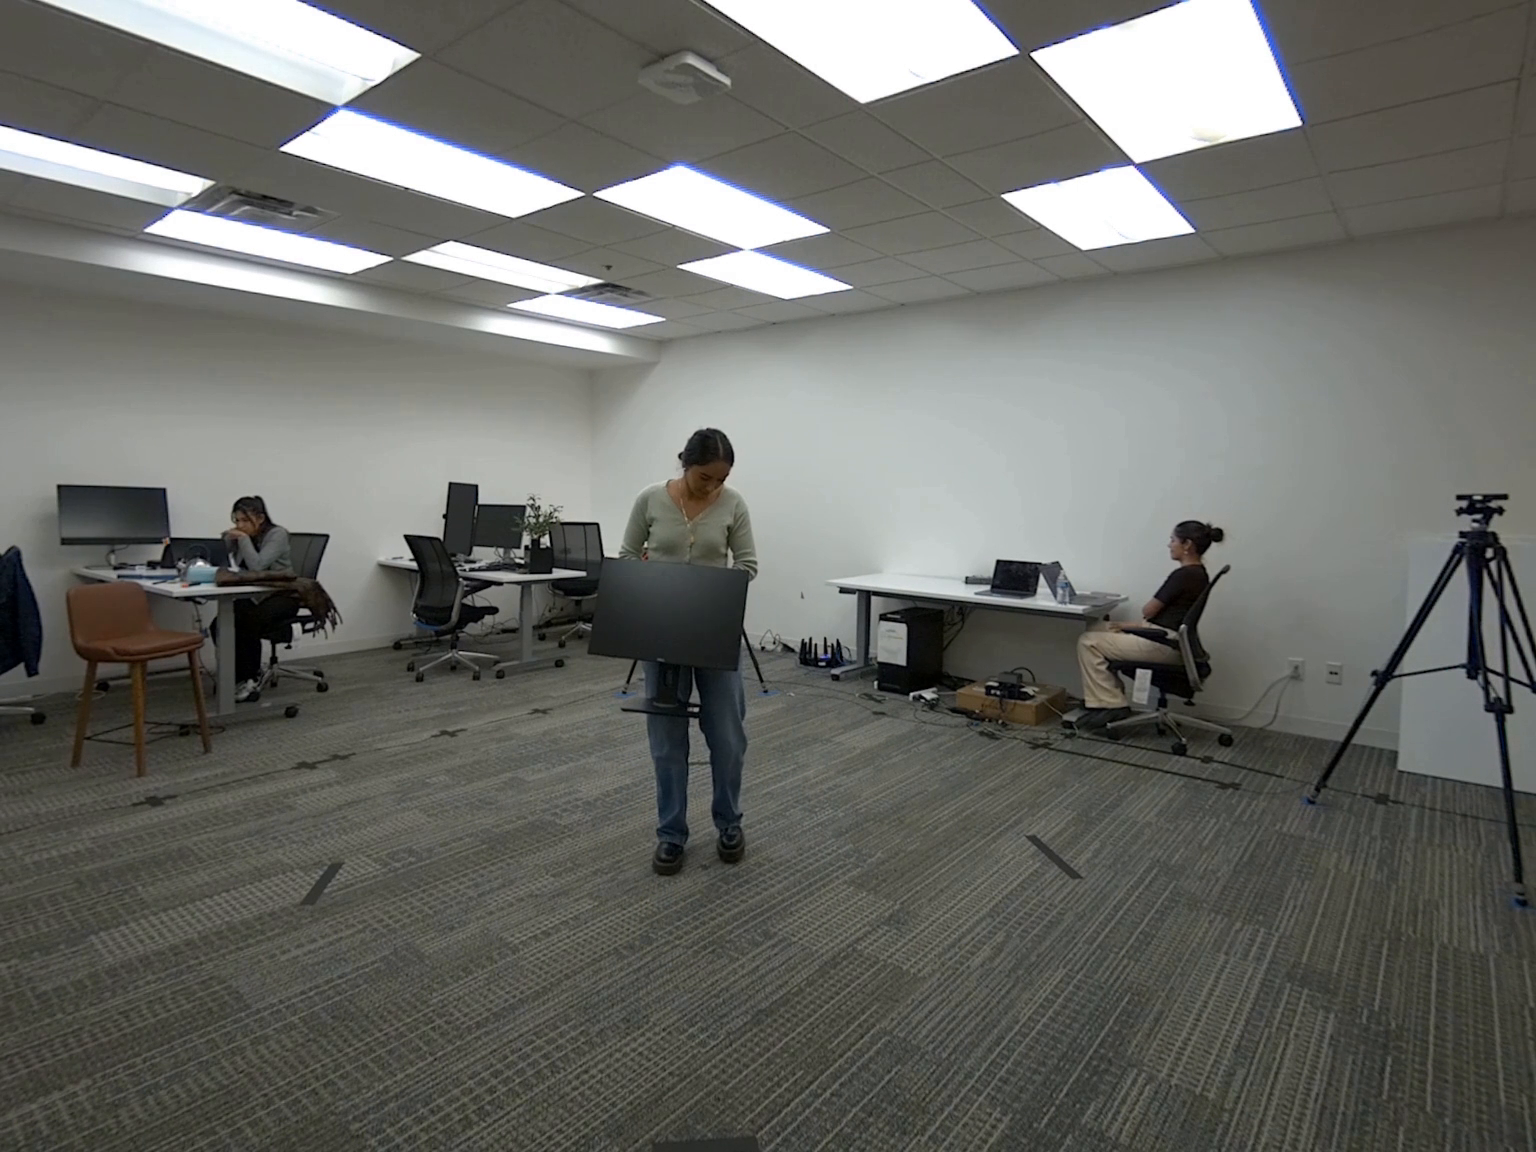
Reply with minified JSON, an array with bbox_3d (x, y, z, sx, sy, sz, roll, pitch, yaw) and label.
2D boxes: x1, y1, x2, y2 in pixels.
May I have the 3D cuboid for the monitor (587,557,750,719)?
[{"bbox_3d":[-0.376,0.201,2.997,0.536,0.513,0.174,5,6,9],"label":"monitor"}]
